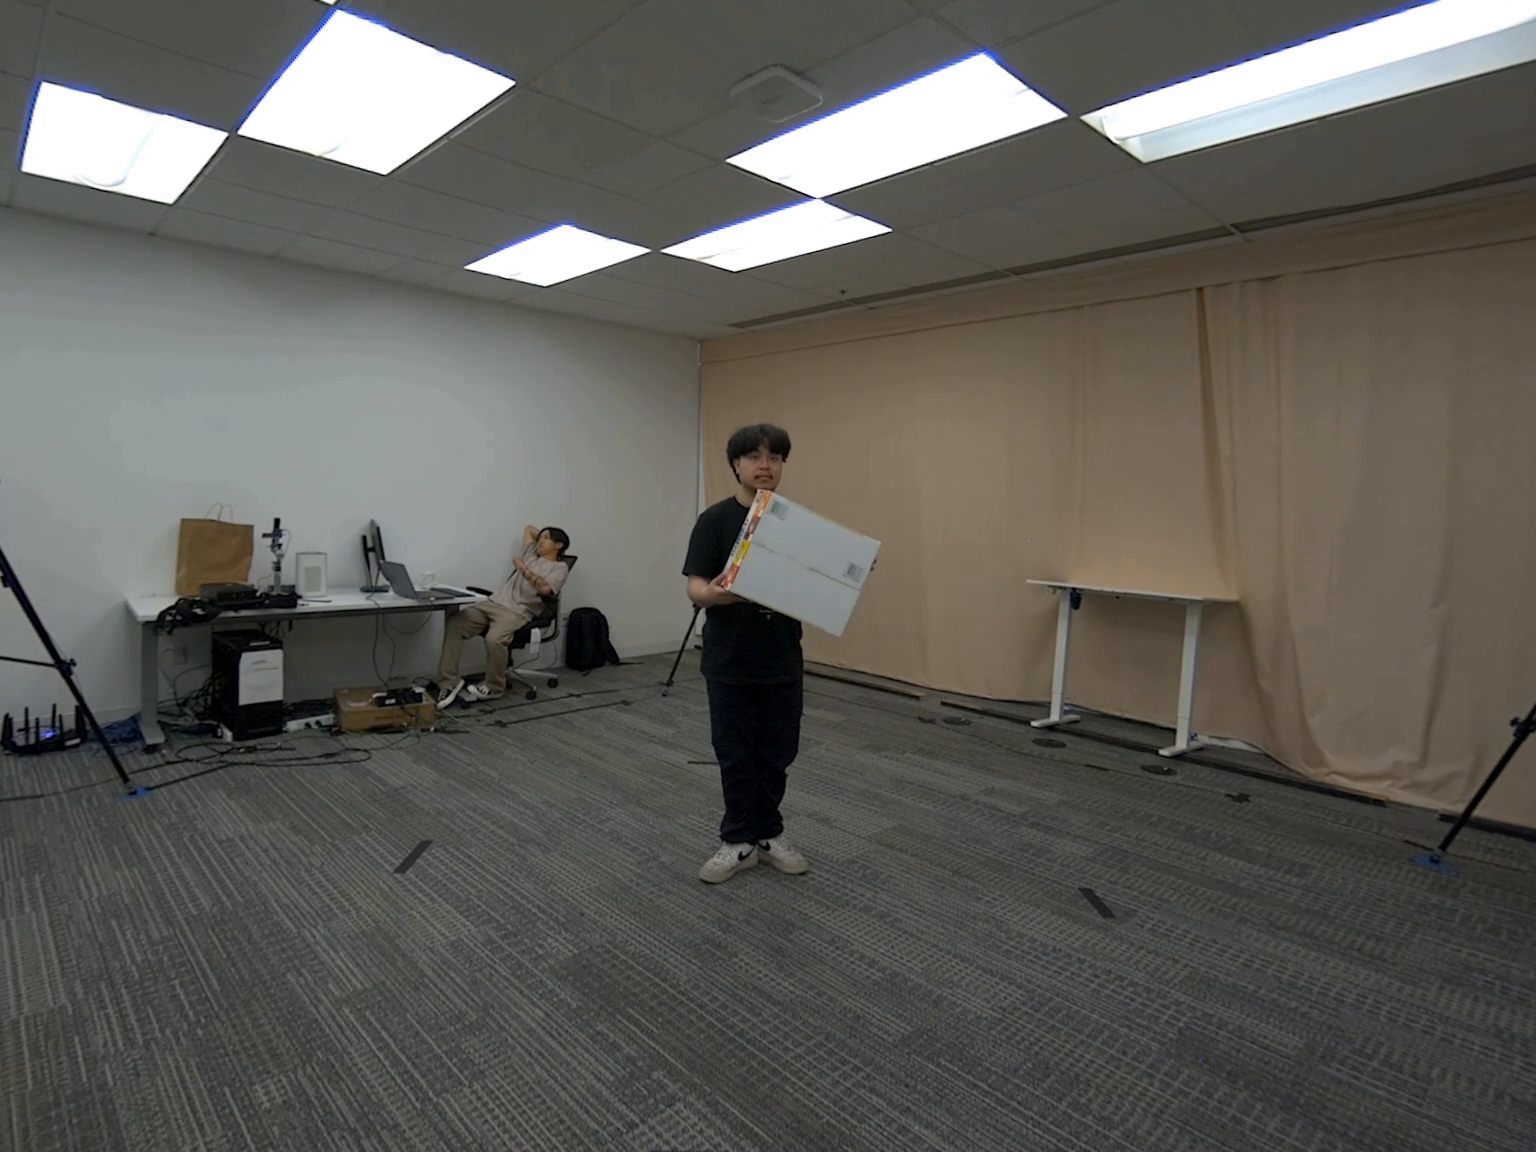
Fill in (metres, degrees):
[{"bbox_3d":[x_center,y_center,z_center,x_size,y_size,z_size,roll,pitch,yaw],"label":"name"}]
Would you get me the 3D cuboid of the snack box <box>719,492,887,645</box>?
[{"bbox_3d":[0.102,-0.033,2.750,0.401,0.340,0.208,24,2,-11],"label":"snack box"}]
